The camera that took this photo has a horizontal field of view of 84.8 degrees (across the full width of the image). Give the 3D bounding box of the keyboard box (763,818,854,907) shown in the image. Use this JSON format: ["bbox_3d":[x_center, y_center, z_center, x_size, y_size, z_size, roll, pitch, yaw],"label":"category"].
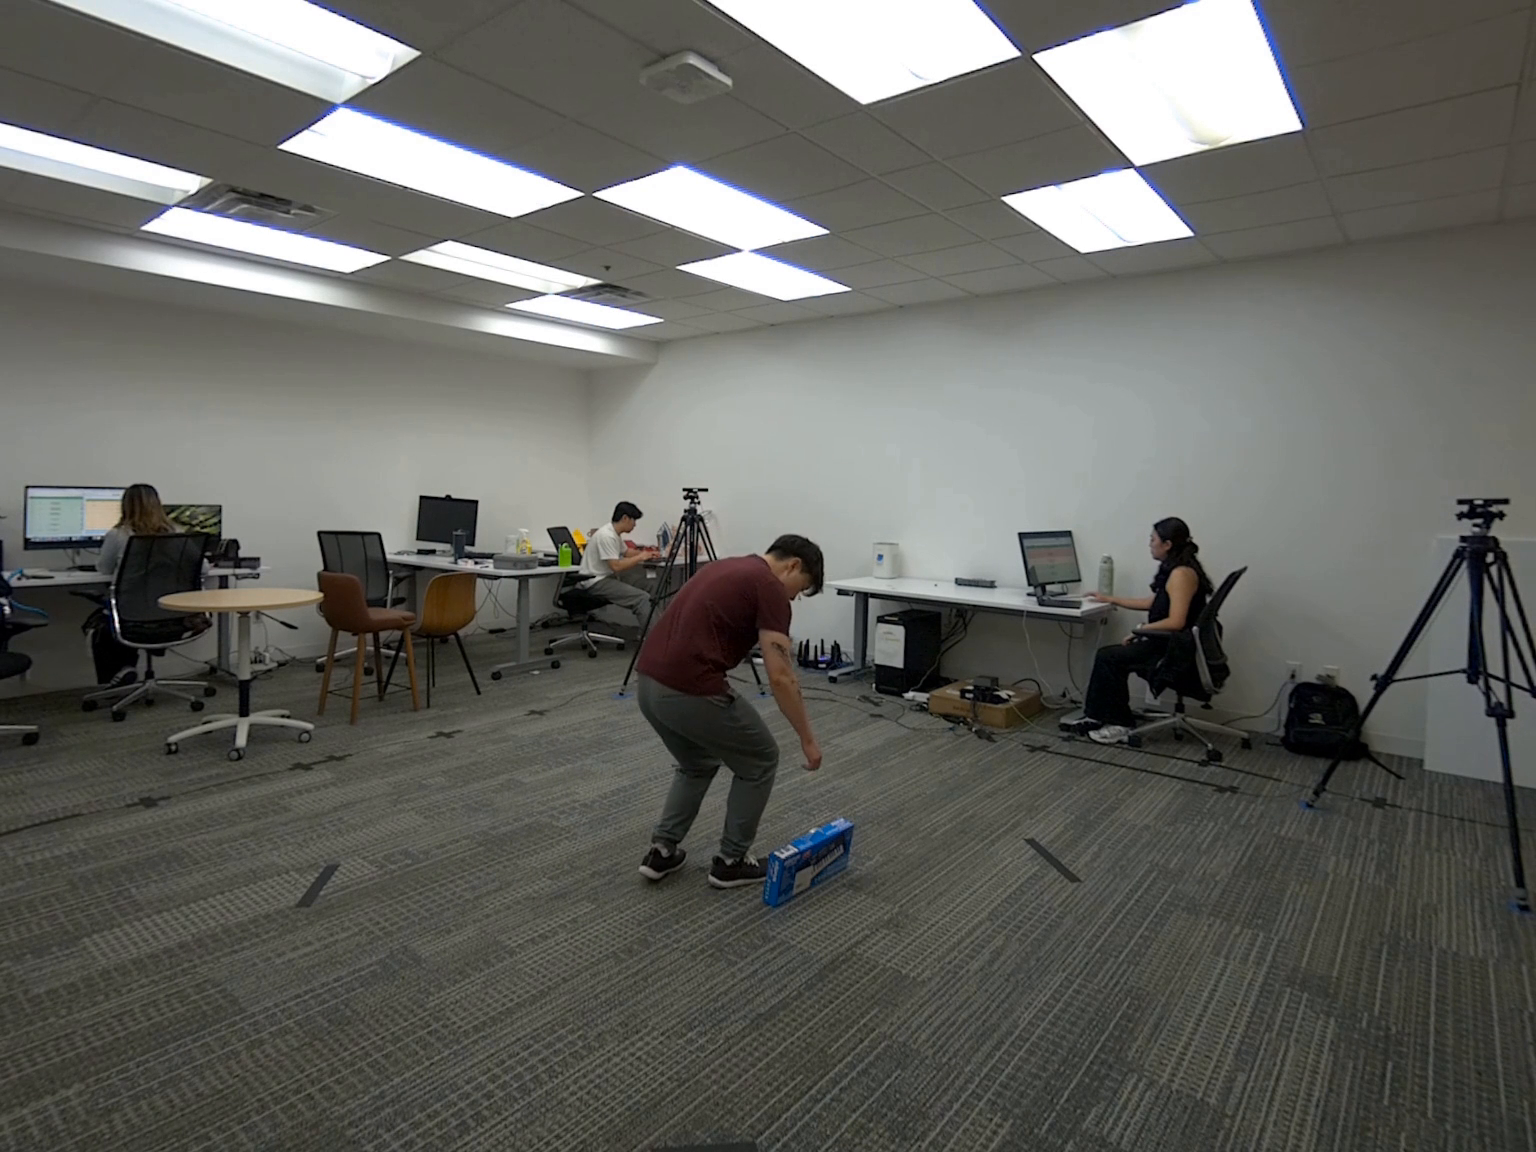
[{"bbox_3d":[0.143,1.003,2.998,0.061,0.174,0.424,16,13,39],"label":"keyboard box"}]
